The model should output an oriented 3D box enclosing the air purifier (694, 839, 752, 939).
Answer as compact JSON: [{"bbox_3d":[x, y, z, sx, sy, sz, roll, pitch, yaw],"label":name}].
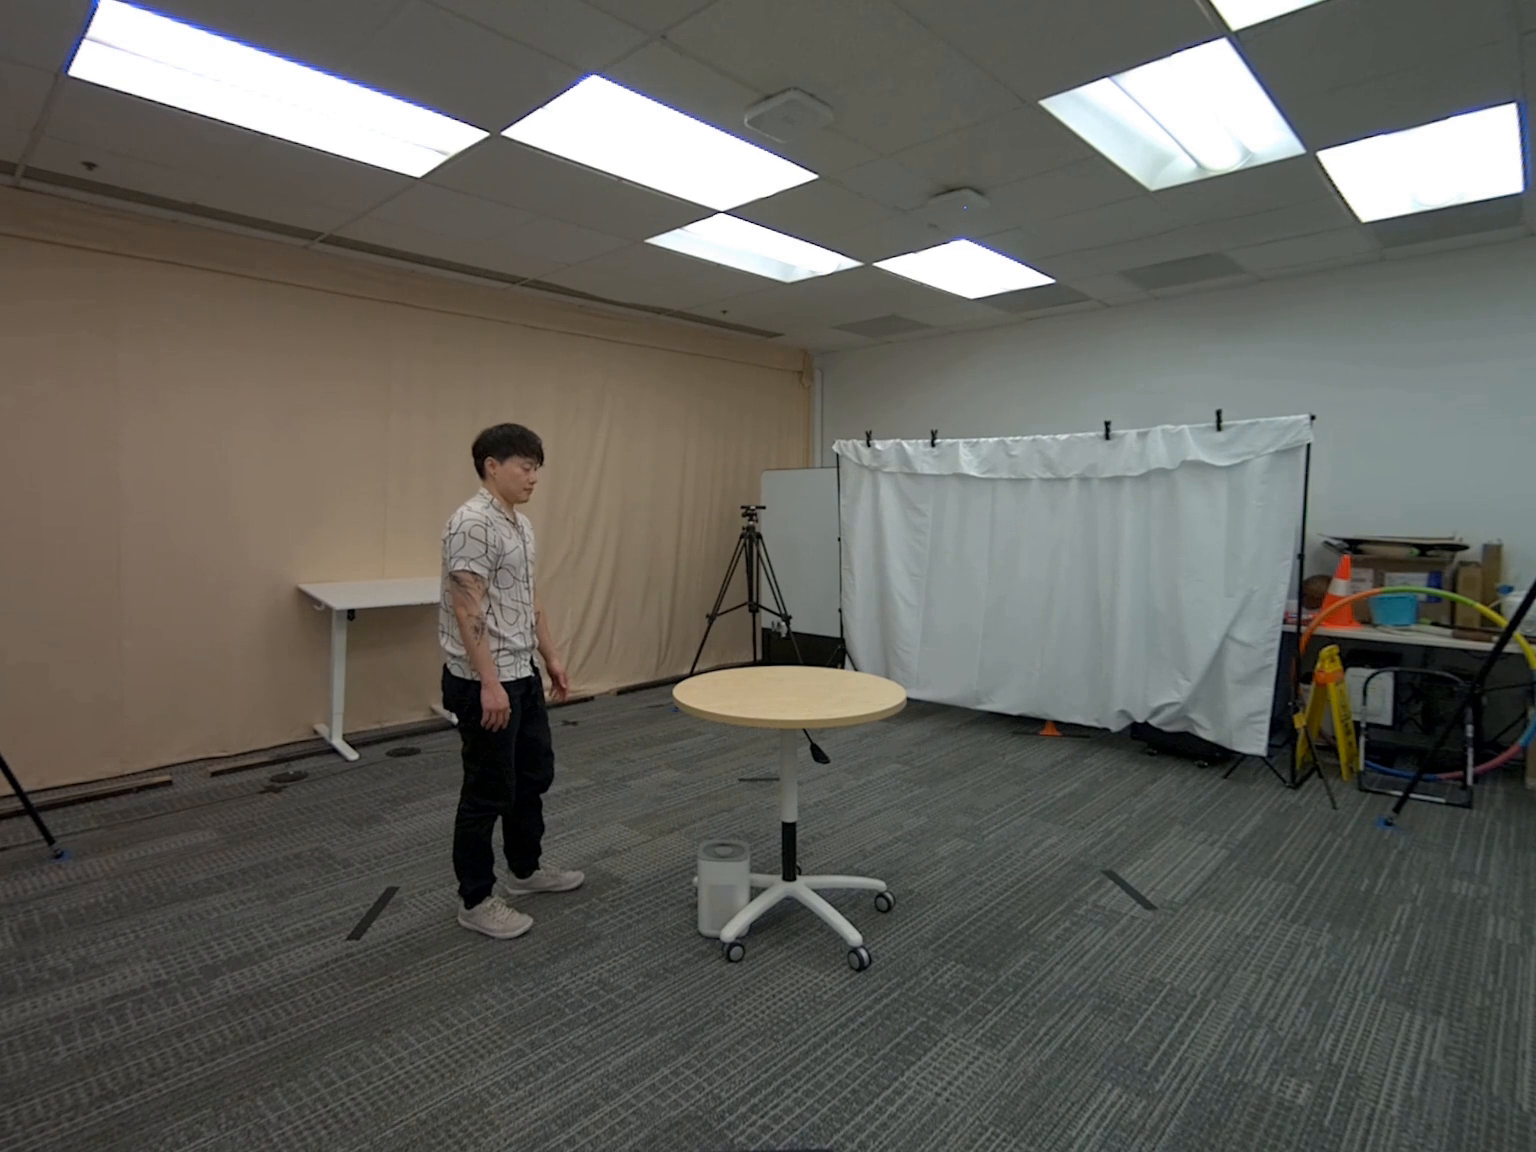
[{"bbox_3d":[-0.145,1.031,2.759,0.172,0.265,0.171,1,2,0],"label":"air purifier"}]
